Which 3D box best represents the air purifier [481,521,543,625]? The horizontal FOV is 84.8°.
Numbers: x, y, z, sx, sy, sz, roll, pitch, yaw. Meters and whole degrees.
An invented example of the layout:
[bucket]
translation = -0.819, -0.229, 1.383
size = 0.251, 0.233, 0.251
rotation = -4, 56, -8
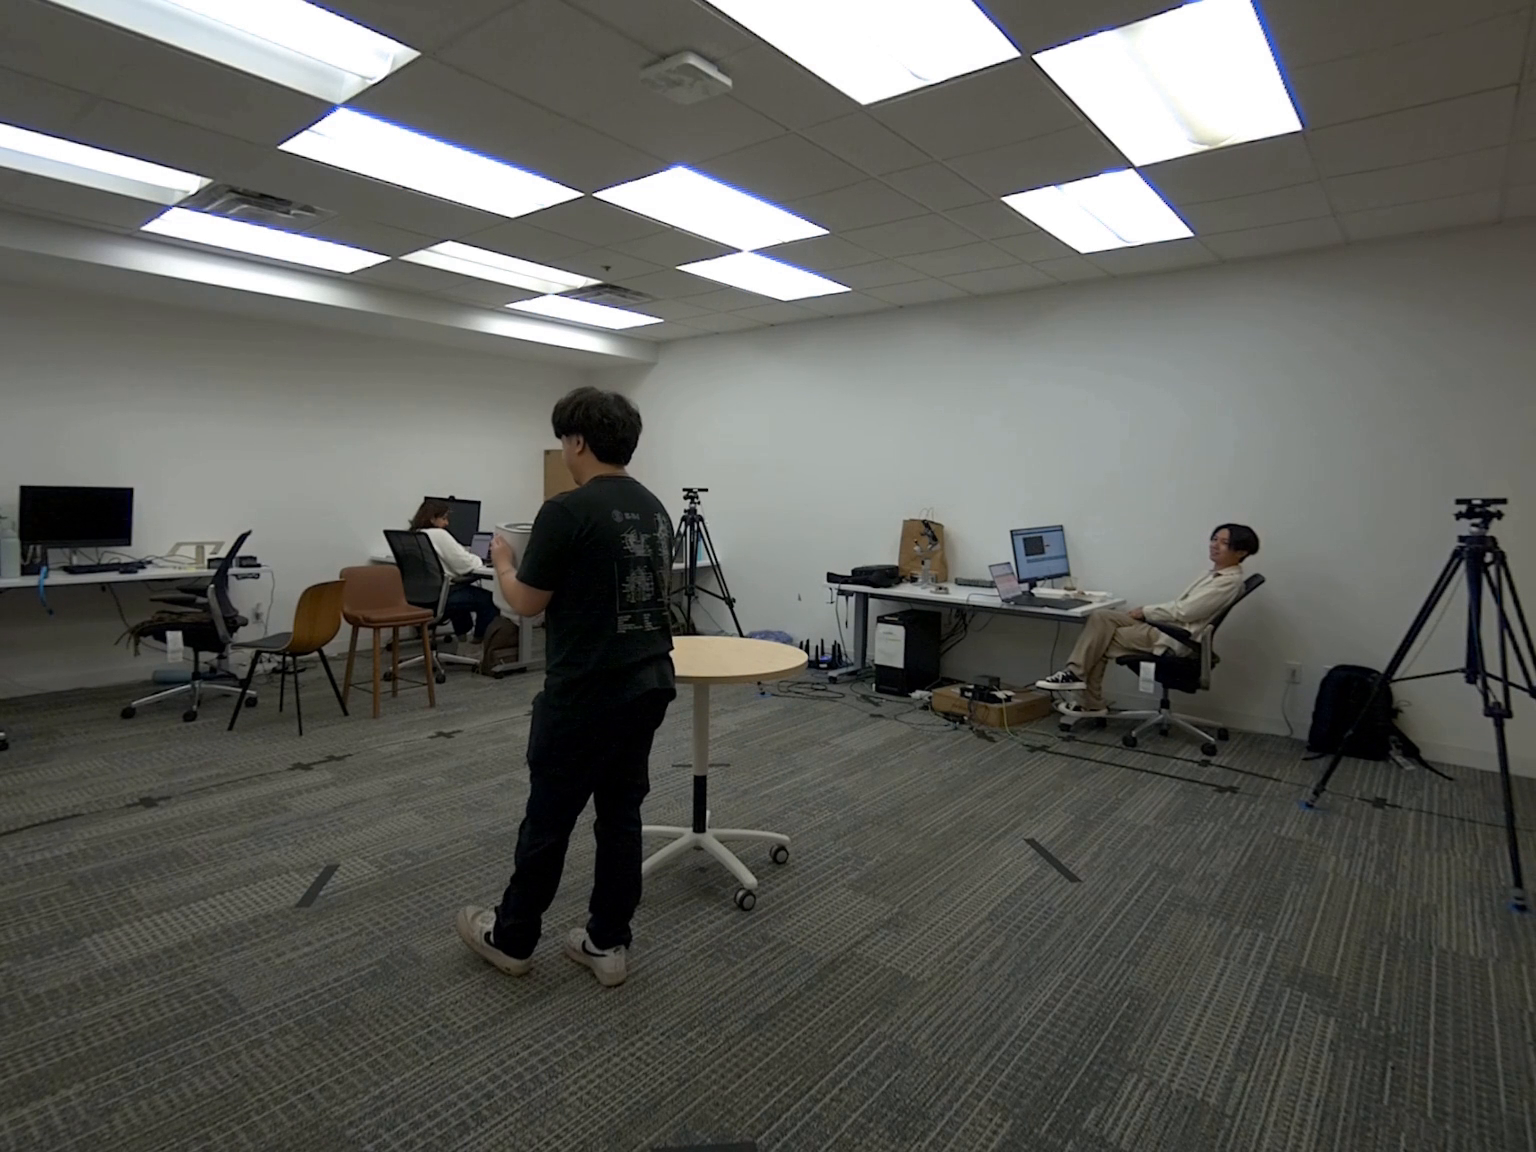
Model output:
[air purifier]
translation = -0.770, -0.020, 2.656
size = 0.166, 0.263, 0.178
rotation = -5, 14, -40
